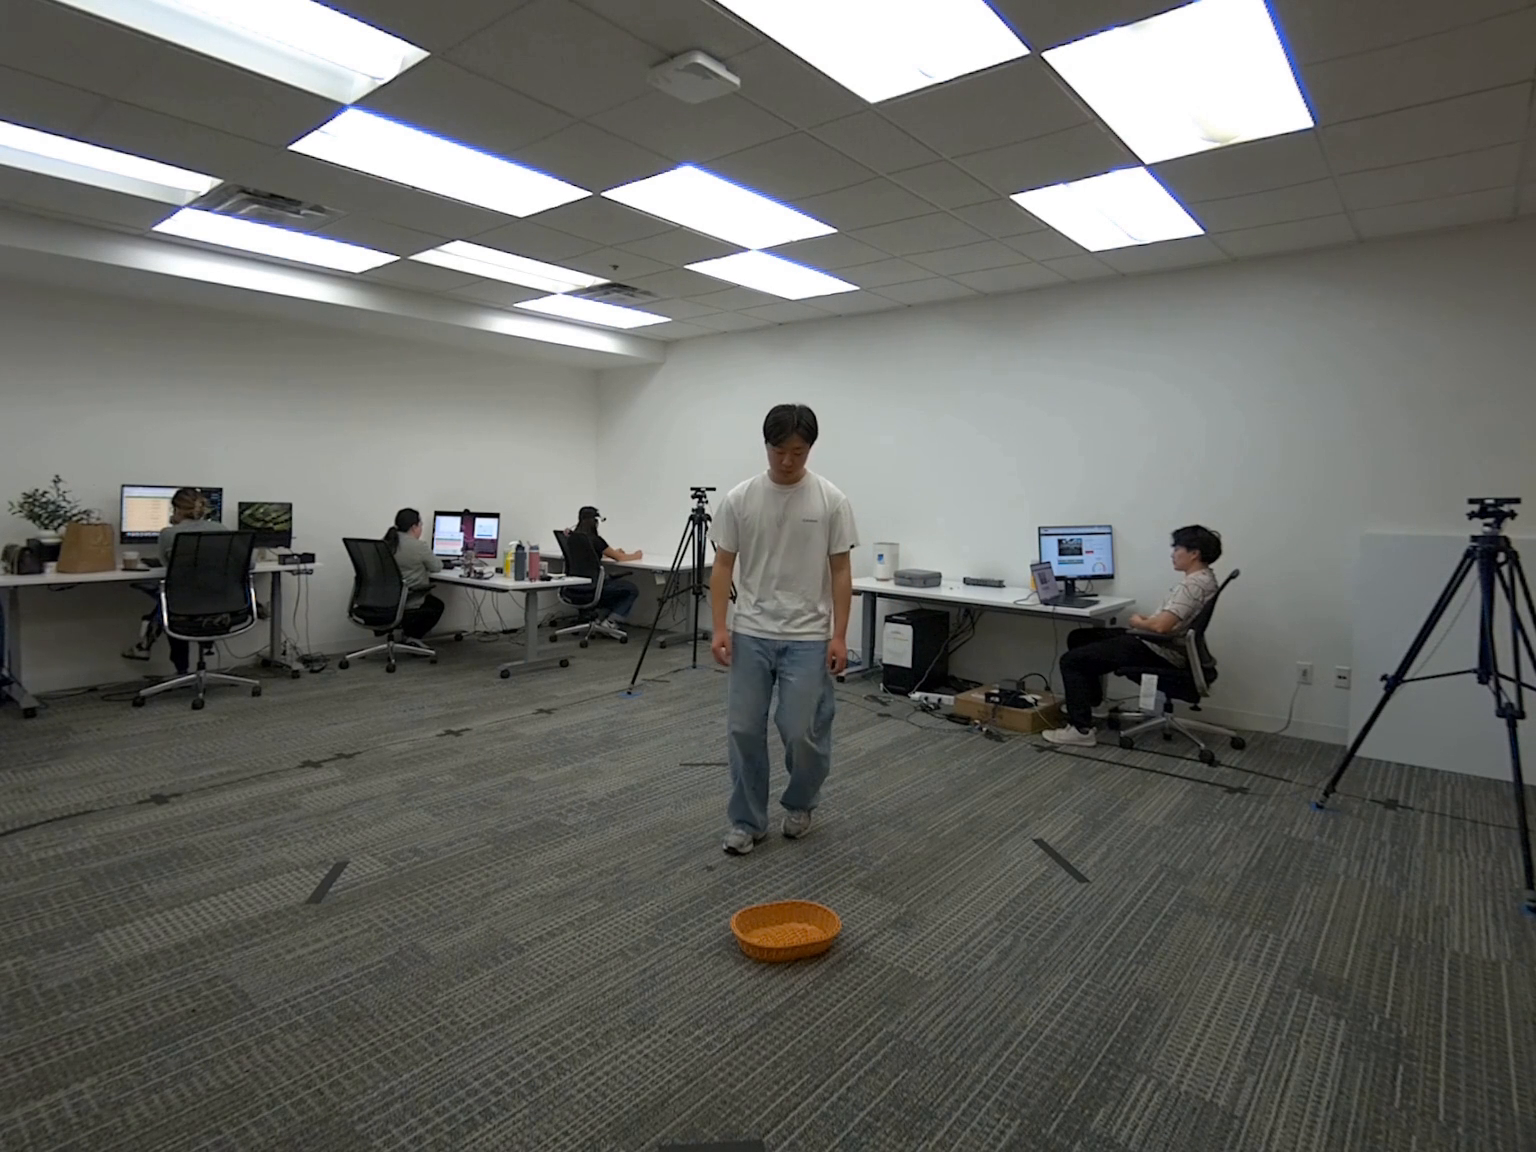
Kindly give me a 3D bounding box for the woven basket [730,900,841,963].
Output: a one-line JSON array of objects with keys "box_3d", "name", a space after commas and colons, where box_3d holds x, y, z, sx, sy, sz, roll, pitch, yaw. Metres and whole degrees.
[{"box_3d": [0.047, 1.082, 2.595, 0.343, 0.073, 0.259, -1, 6, -23], "name": "woven basket"}]
